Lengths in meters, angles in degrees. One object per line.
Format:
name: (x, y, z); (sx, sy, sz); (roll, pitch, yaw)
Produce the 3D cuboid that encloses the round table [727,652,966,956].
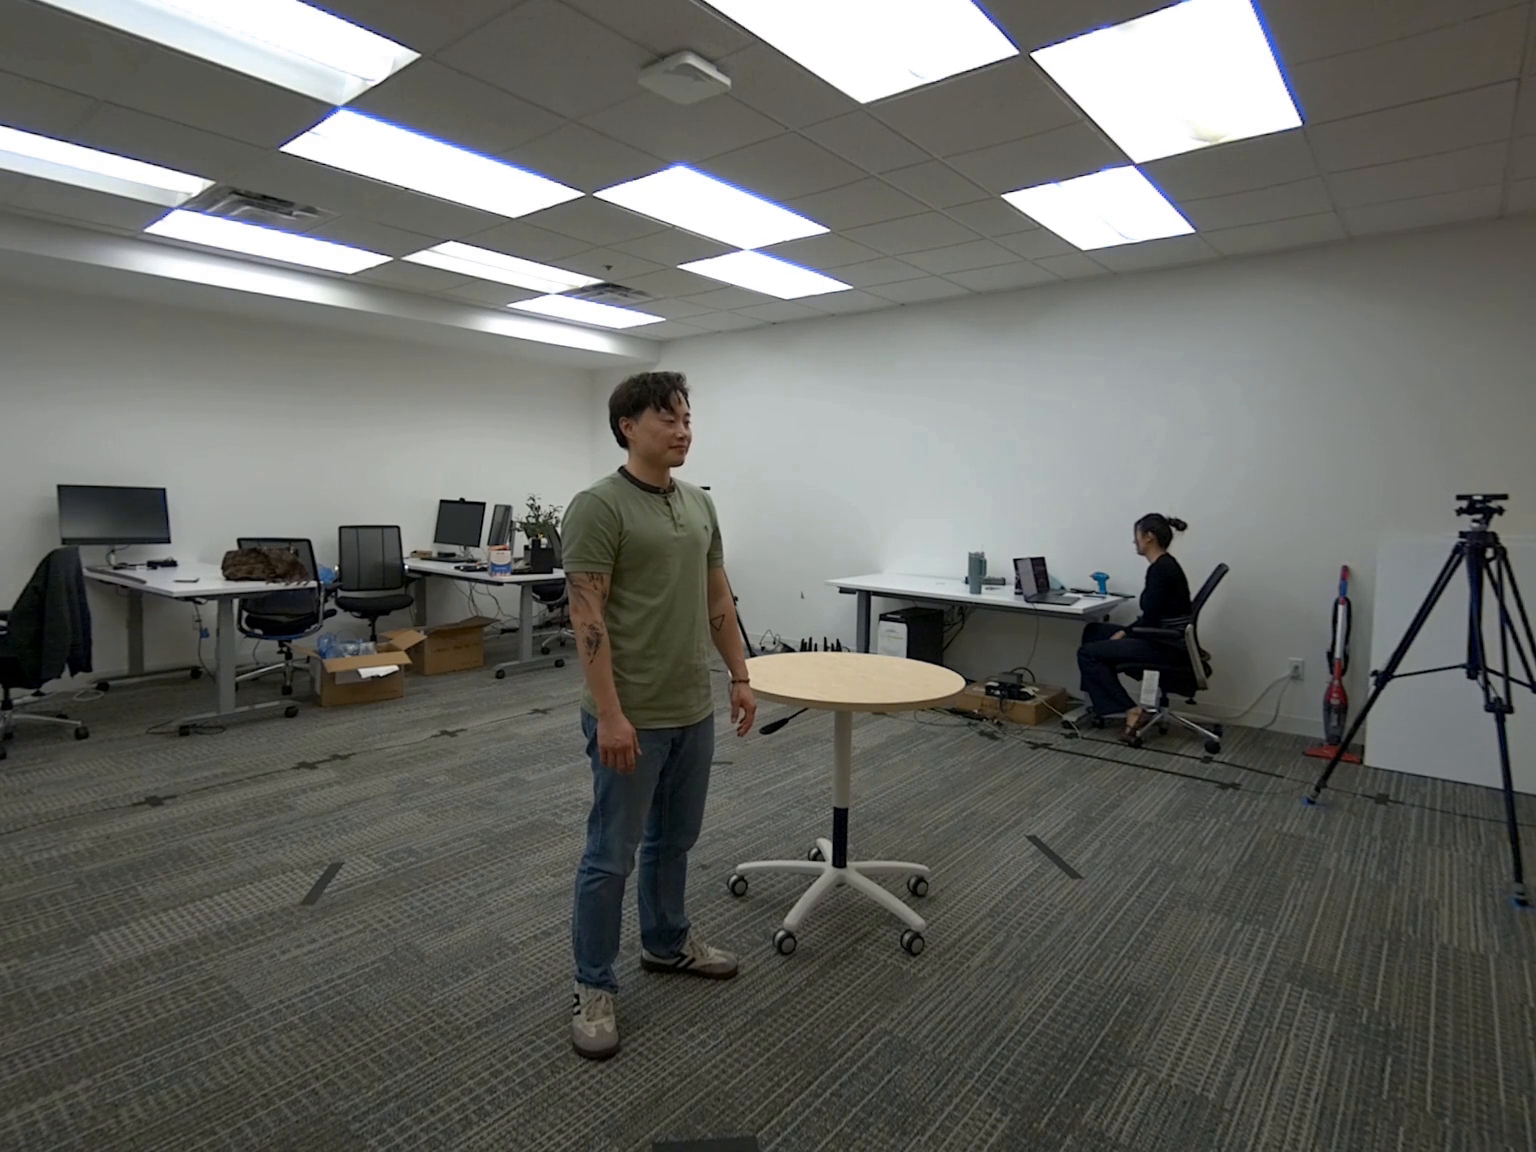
round table: (0.235, 0.715, 2.816); (0.763, 0.791, 0.768); (1, 4, -2)
